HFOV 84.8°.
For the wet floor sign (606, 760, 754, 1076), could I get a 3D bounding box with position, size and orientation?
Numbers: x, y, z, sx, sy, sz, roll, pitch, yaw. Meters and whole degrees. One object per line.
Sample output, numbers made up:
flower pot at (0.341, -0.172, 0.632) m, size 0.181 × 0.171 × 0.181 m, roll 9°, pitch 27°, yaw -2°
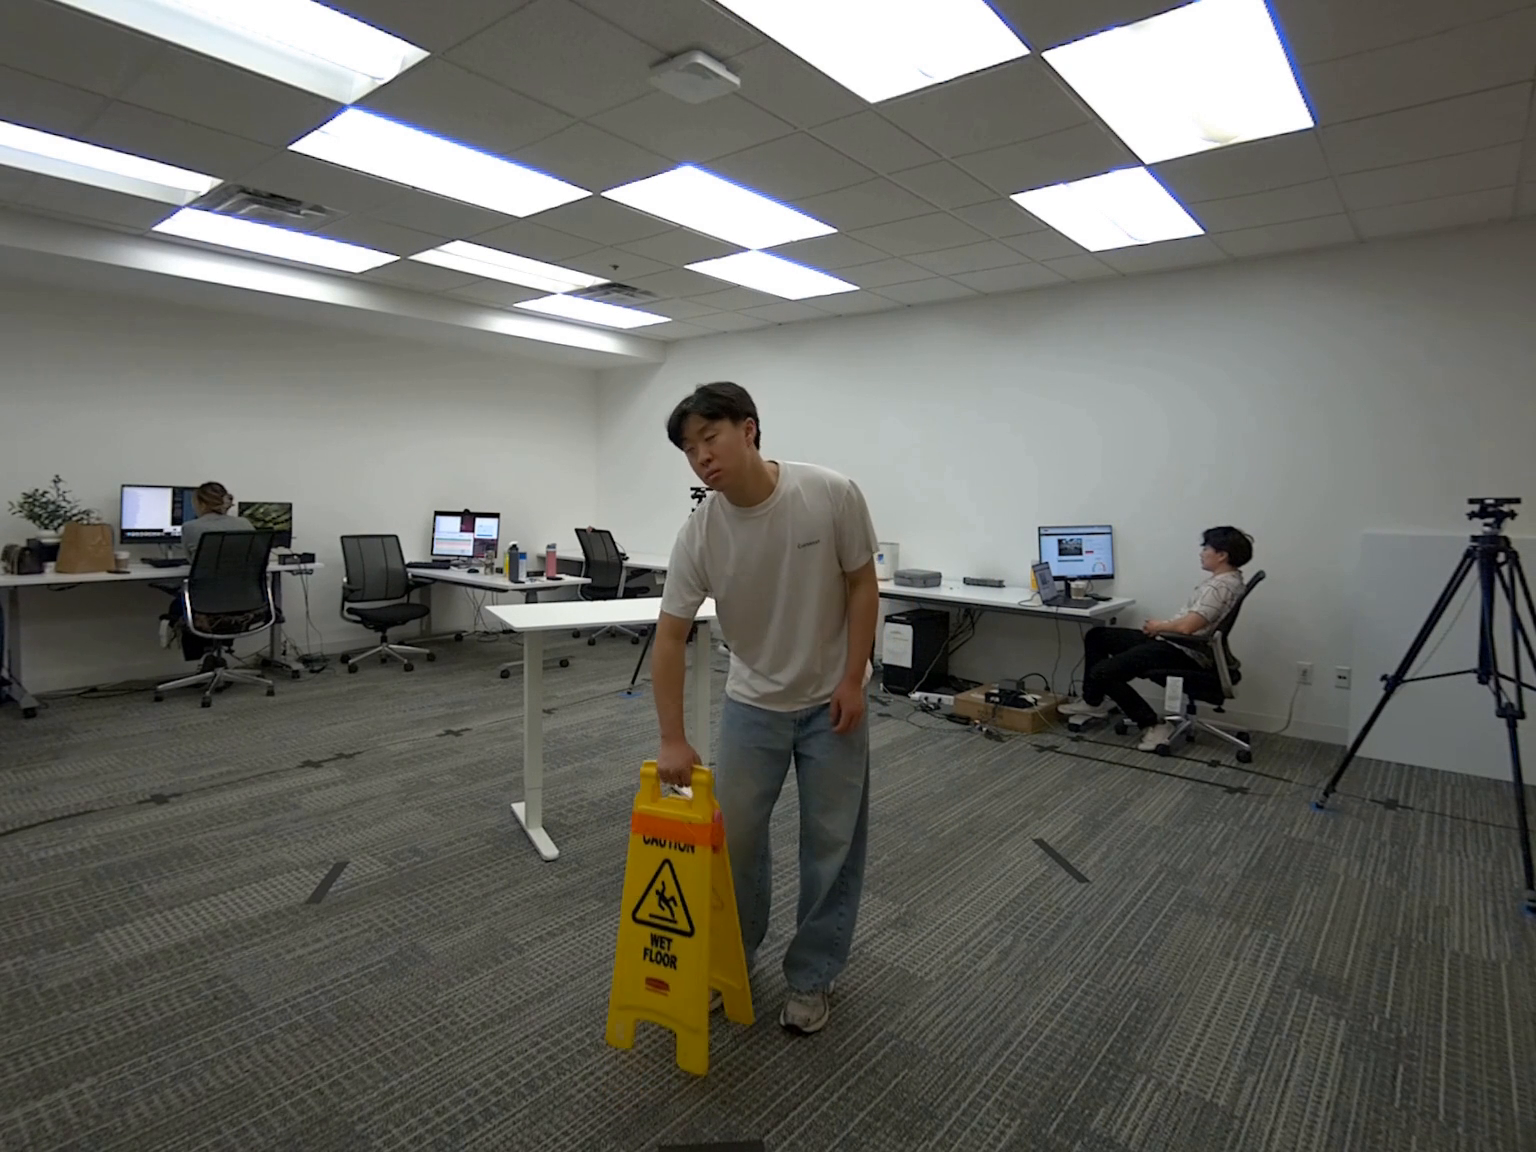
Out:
wet floor sign at (-0.226, 0.771, 2.081) m, size 0.289 × 0.646 × 0.282 m, roll -3°, pitch 0°, yaw 28°
